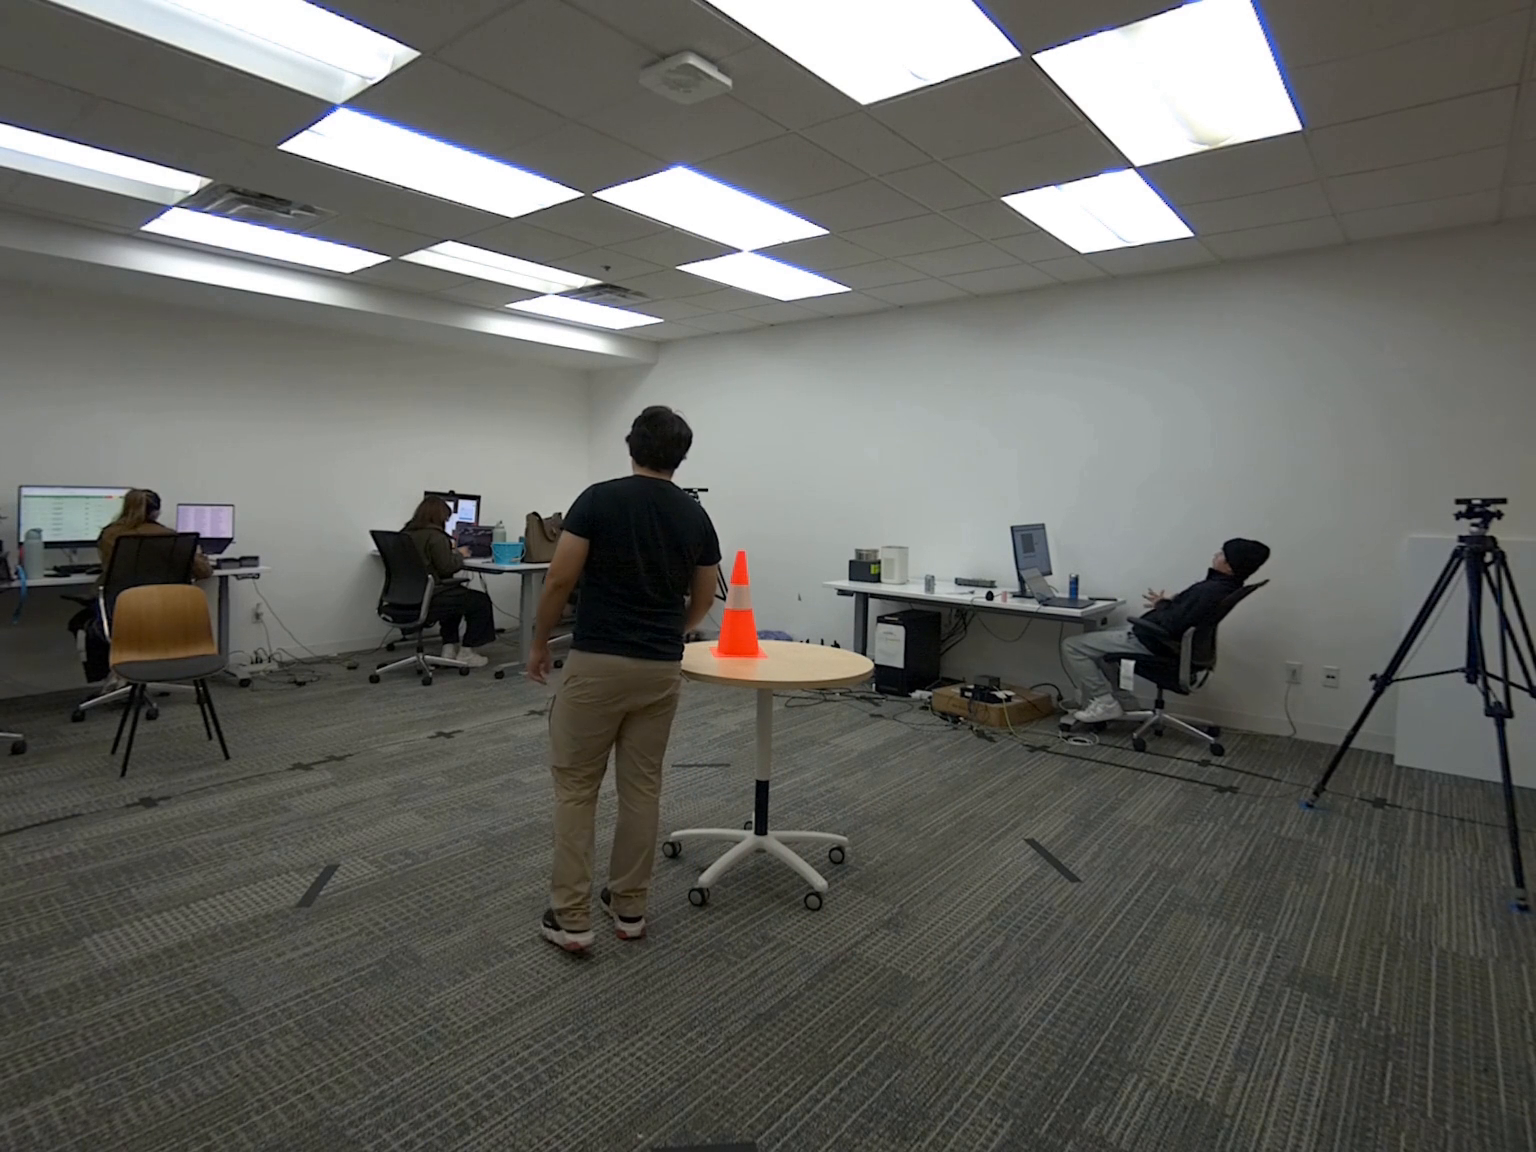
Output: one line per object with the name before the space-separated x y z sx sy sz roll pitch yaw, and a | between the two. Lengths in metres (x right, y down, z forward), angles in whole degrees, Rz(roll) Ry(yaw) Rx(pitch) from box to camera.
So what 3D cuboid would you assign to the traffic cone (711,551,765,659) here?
traffic cone | -0.112 0.097 3.150 0.203 0.382 0.205 1 3 -8
